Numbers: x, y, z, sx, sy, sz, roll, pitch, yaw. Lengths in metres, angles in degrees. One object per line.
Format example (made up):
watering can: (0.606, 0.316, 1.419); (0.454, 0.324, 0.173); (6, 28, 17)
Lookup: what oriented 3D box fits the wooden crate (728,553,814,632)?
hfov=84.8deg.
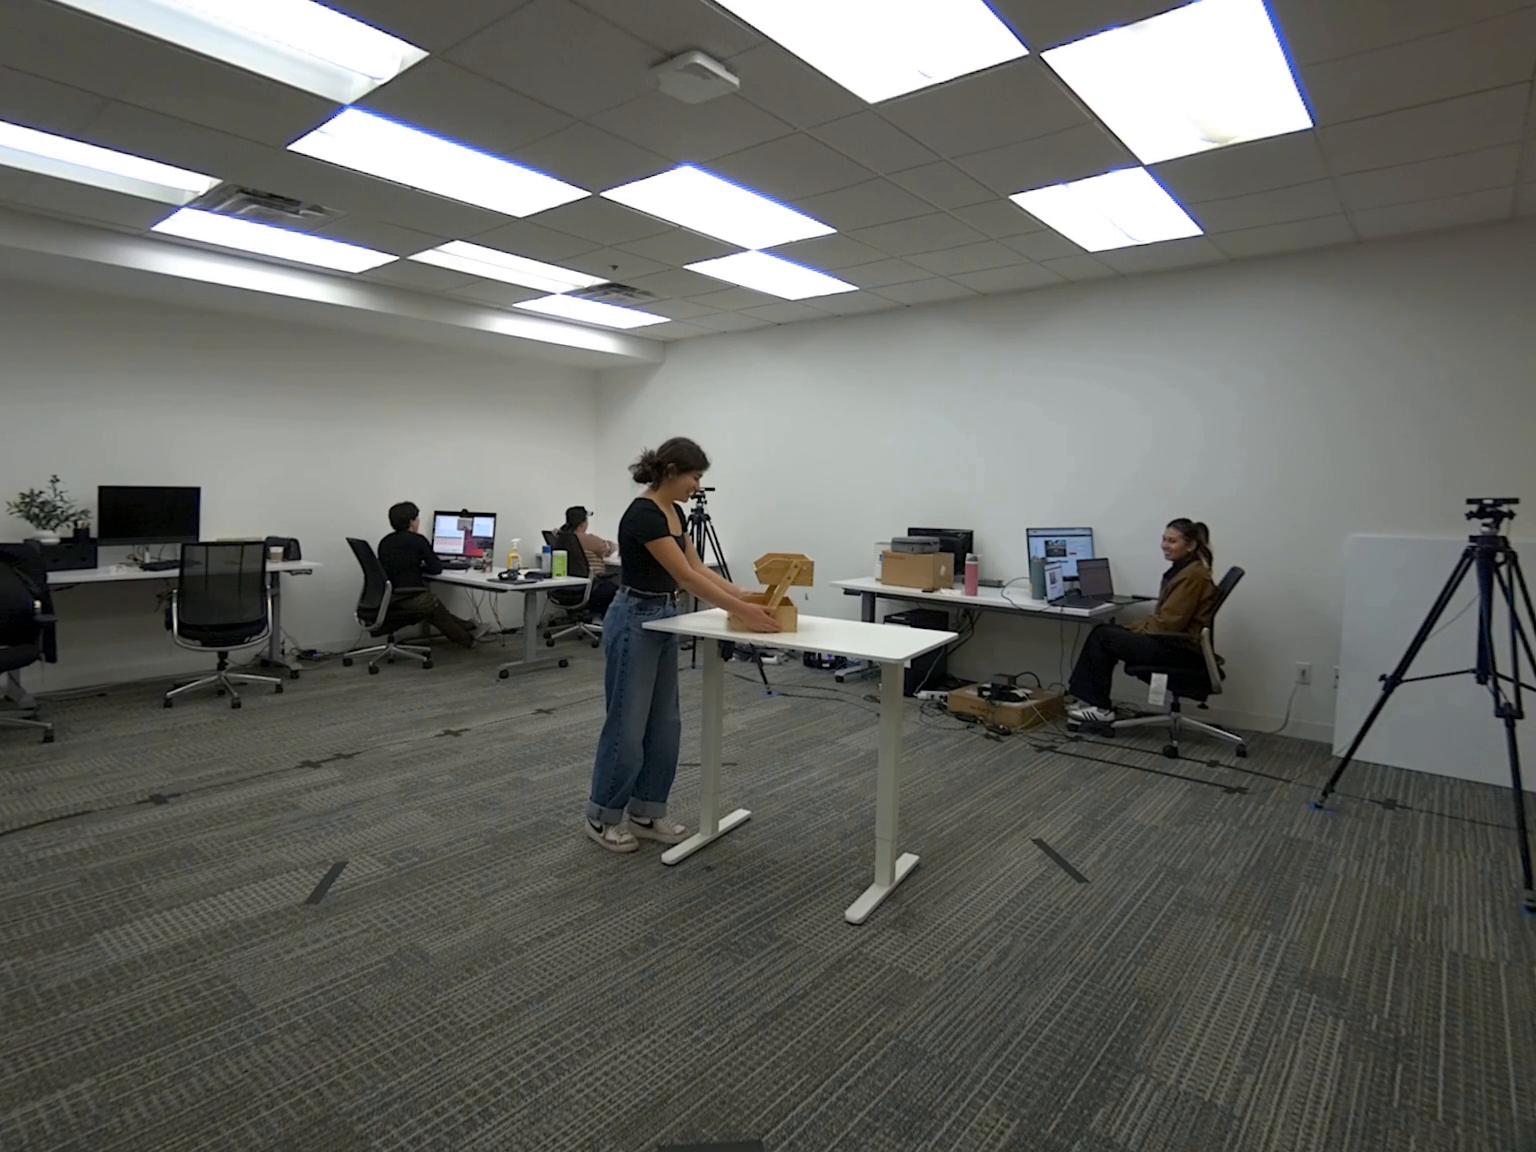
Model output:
wooden crate: (-0.008, 0.051, 3.175); (0.302, 0.272, 0.326); (2, 4, -1)
